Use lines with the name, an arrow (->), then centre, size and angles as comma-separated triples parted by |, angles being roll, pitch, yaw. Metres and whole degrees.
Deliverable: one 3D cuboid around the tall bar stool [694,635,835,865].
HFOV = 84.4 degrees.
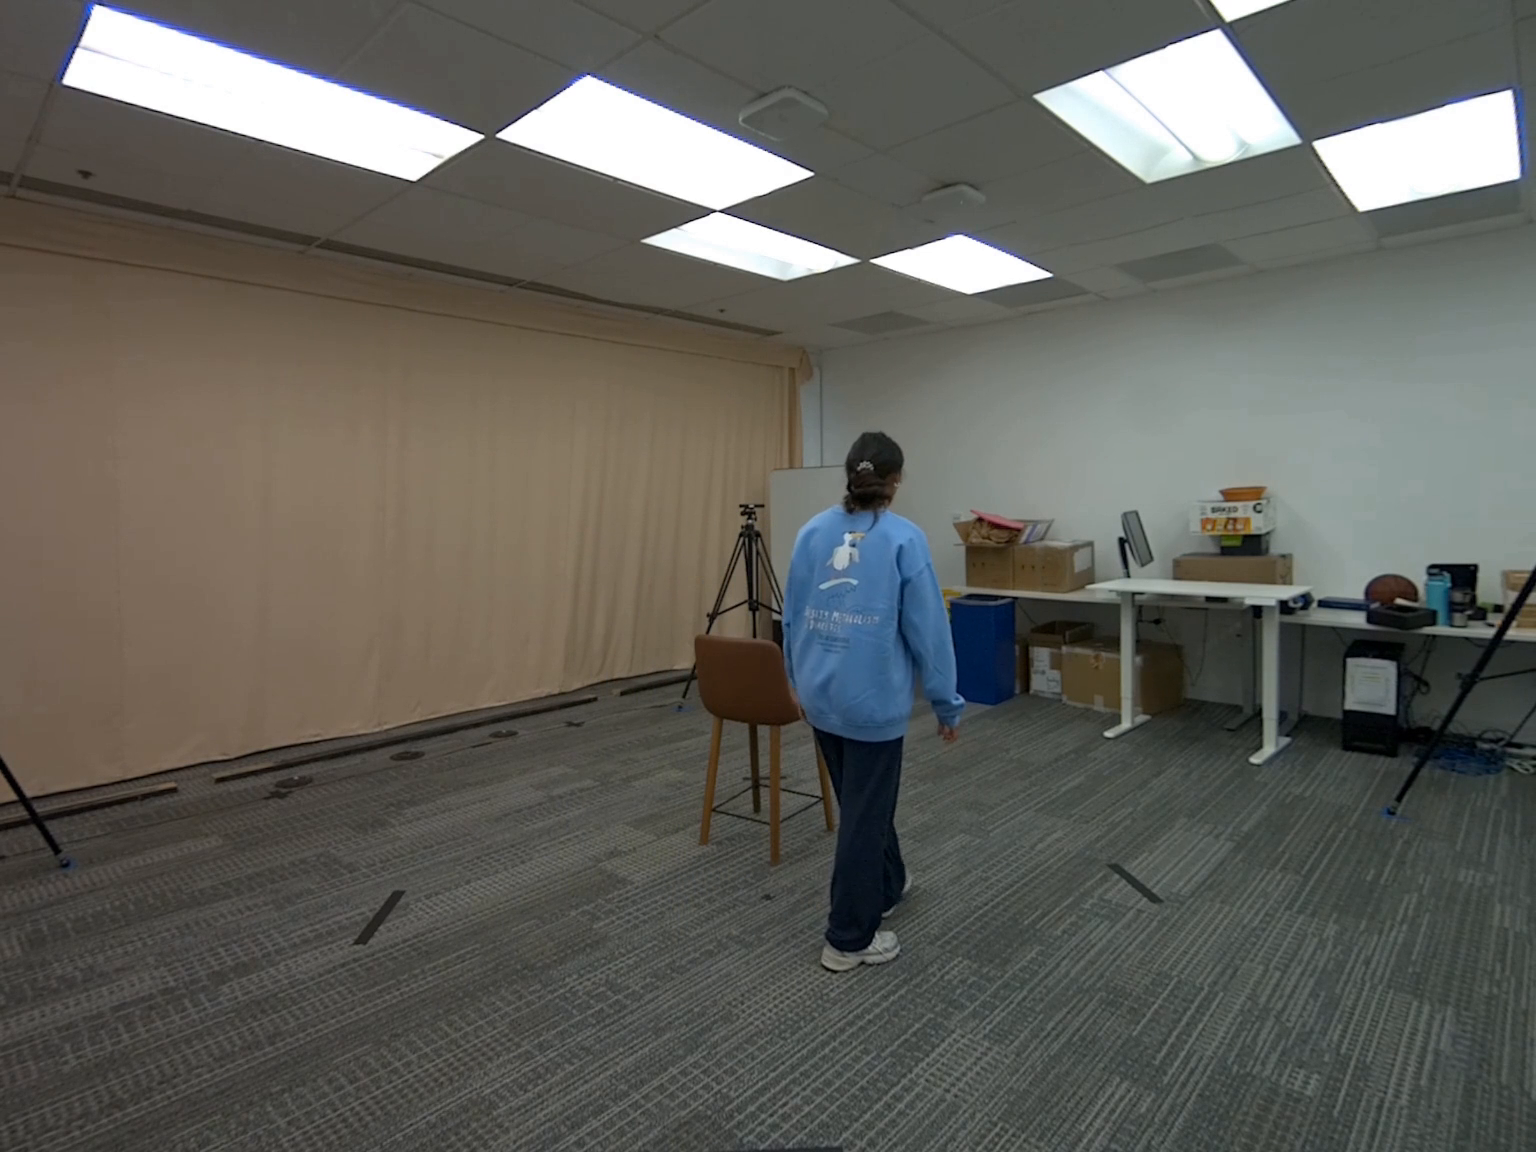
tall bar stool -> -0.014, 0.658, 3.503 | 0.471, 0.887, 0.455 | 1, 6, 35
